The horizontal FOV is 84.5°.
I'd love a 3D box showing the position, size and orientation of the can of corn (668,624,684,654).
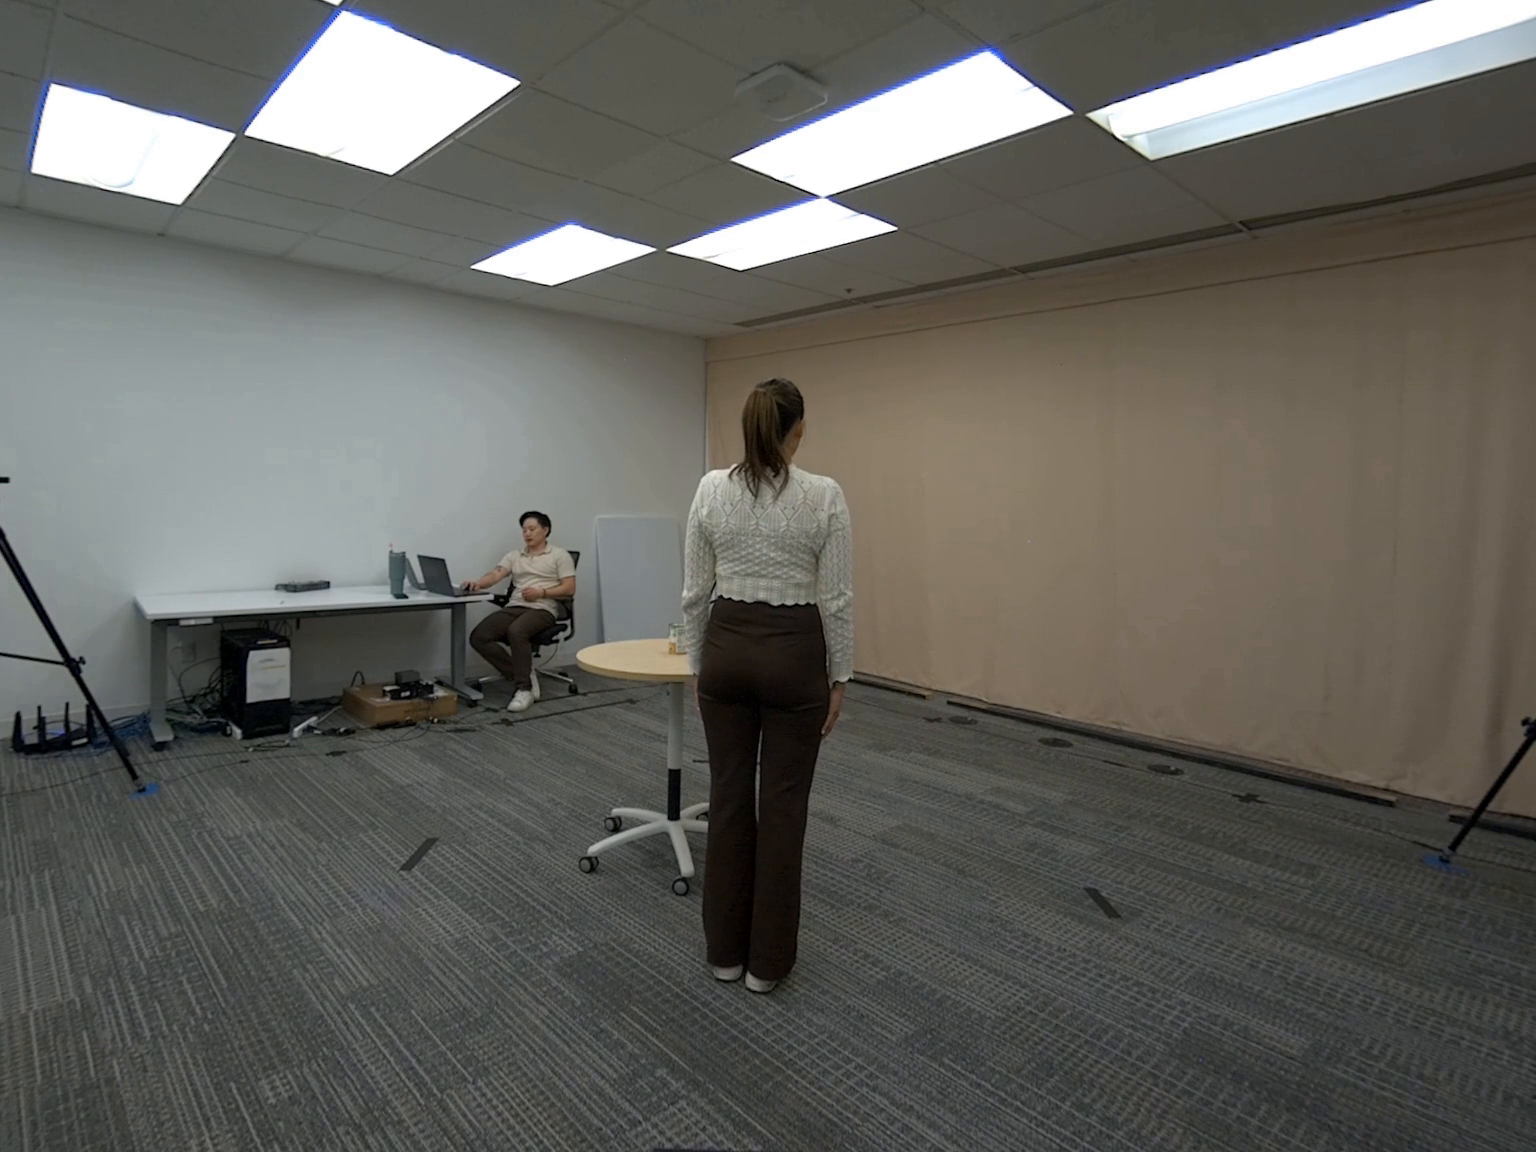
[{"bbox_3d":[-0.358,0.247,3.266,0.074,0.111,0.074,0,1,-1],"label":"can of corn"}]
